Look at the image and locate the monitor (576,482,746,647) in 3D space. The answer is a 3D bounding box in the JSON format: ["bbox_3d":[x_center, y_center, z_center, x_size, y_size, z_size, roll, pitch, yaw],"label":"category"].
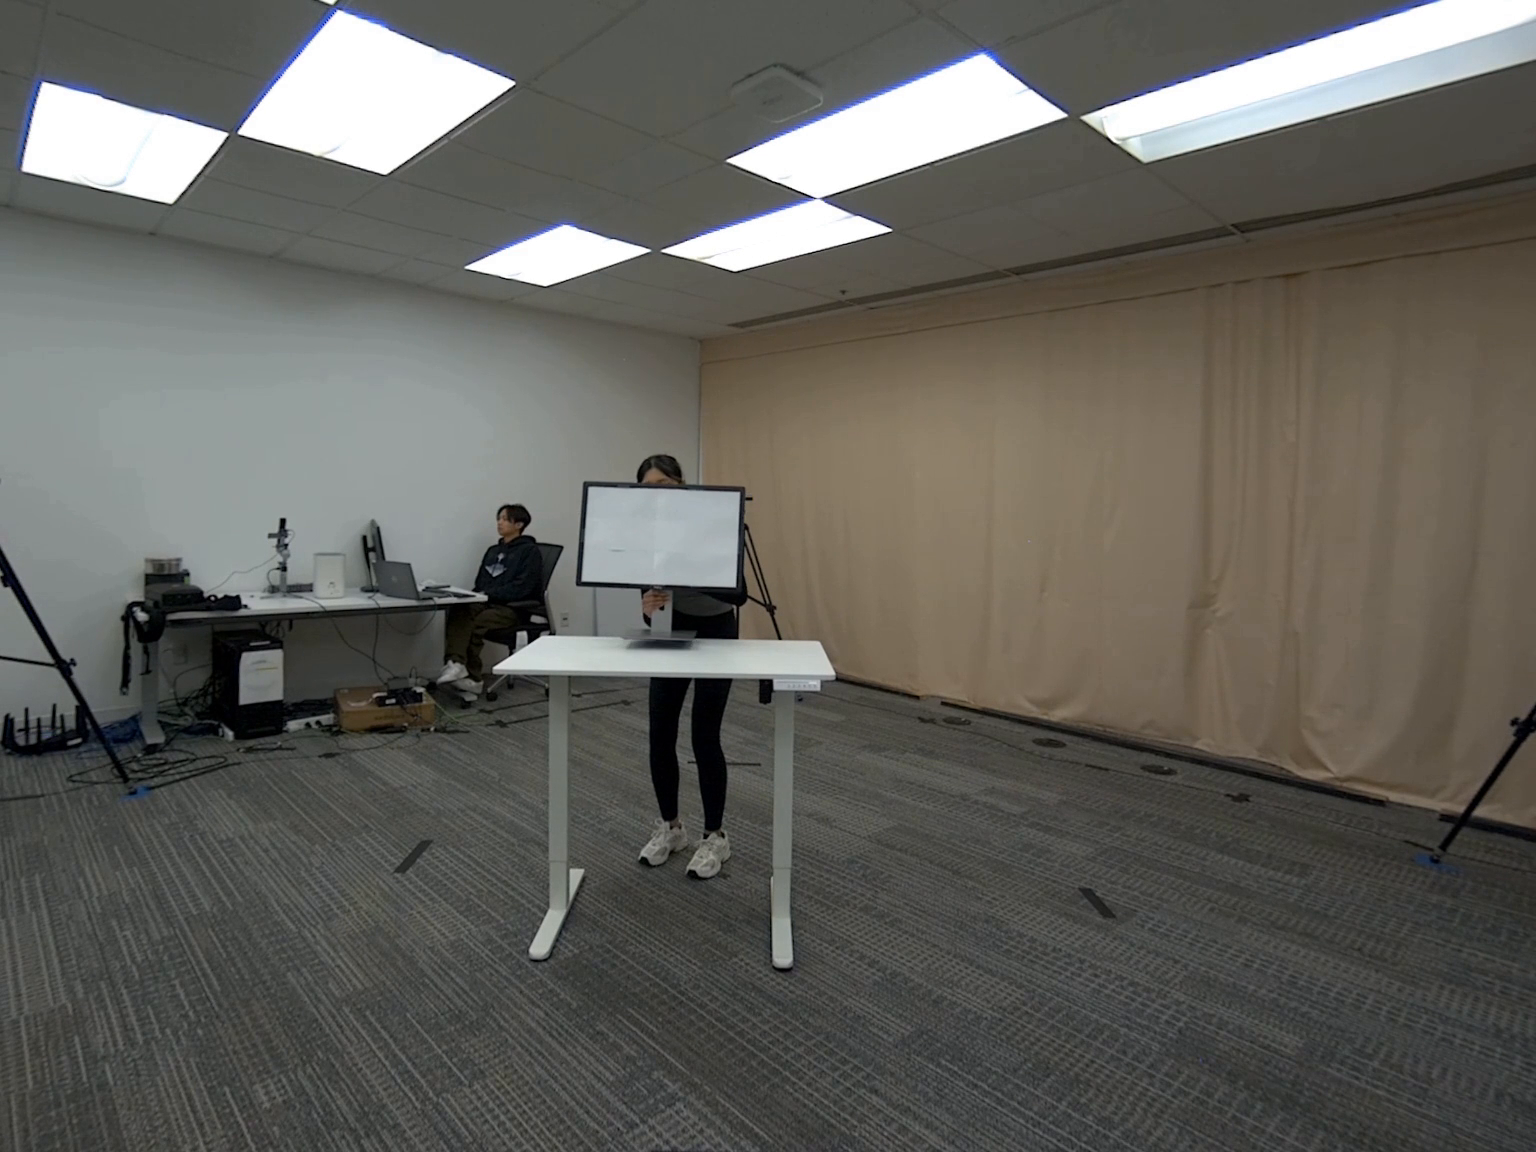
[{"bbox_3d":[-0.374,-0.045,2.901,0.539,0.521,0.187,1,3,1],"label":"monitor"}]
